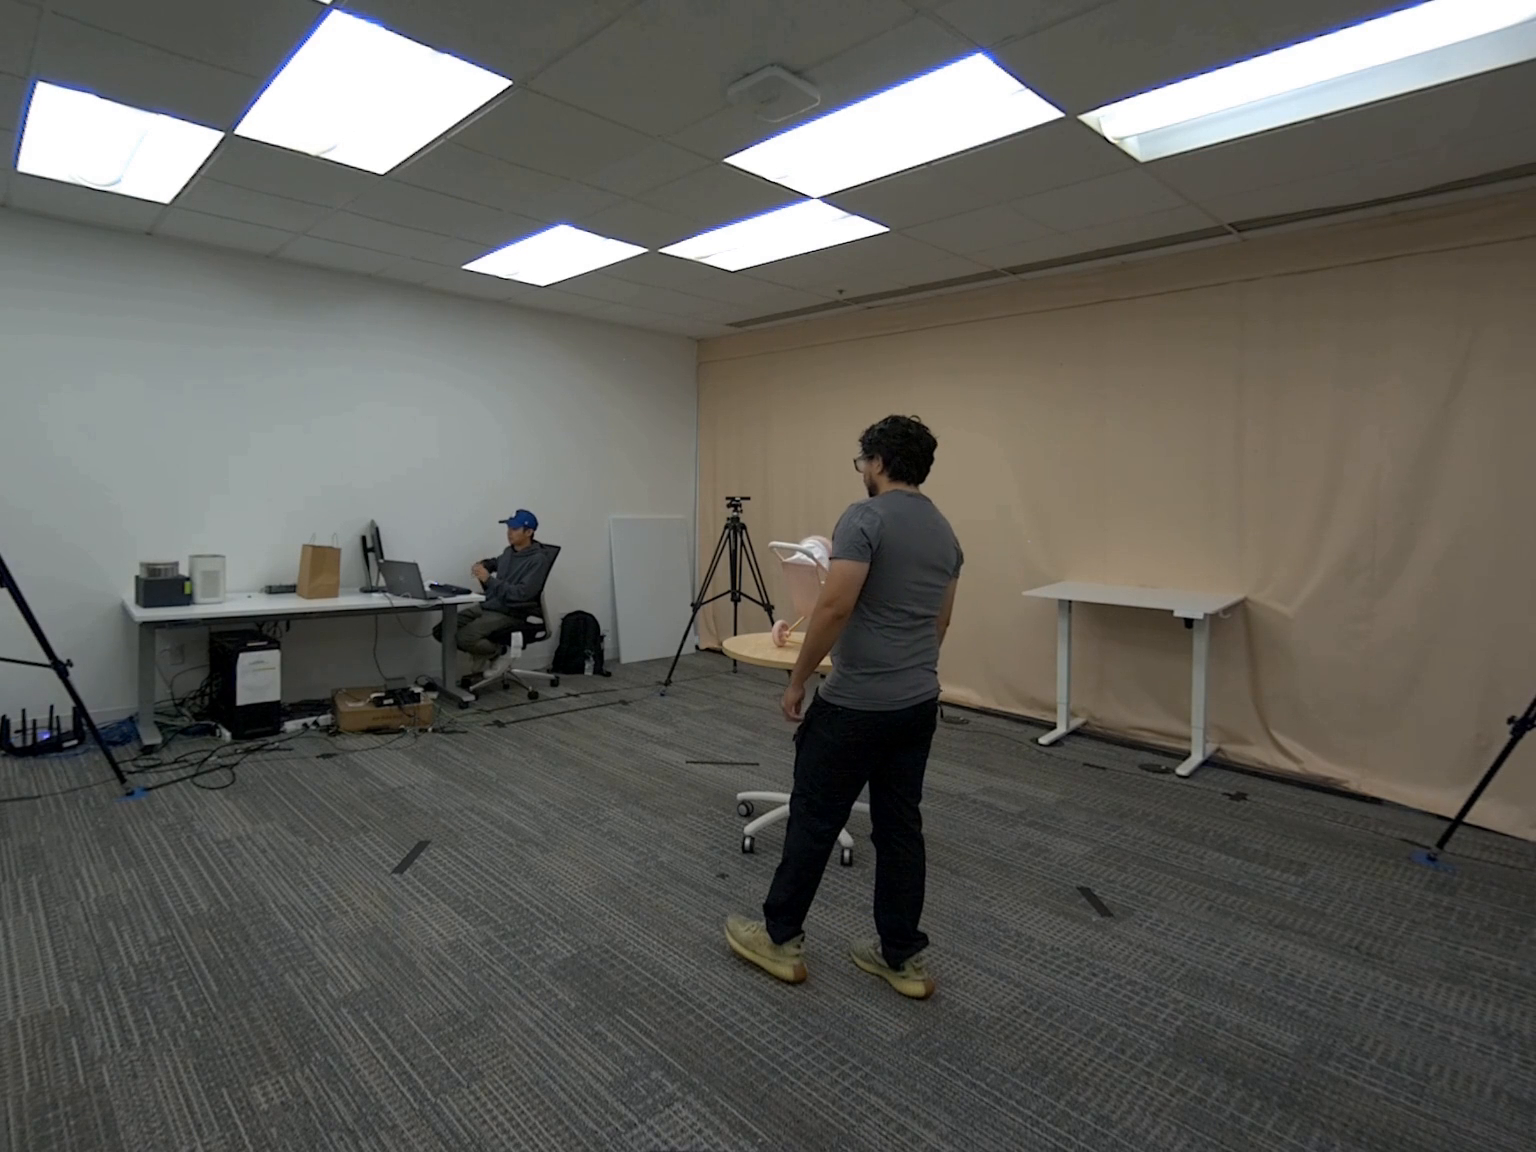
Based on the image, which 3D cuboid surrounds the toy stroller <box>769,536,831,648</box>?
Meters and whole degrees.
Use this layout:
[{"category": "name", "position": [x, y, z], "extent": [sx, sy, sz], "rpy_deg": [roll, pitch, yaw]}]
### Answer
[{"category": "toy stroller", "position": [0.194, 0.079, 3.449], "extent": [0.289, 0.528, 0.336], "rpy_deg": [7, 21, 43]}]
